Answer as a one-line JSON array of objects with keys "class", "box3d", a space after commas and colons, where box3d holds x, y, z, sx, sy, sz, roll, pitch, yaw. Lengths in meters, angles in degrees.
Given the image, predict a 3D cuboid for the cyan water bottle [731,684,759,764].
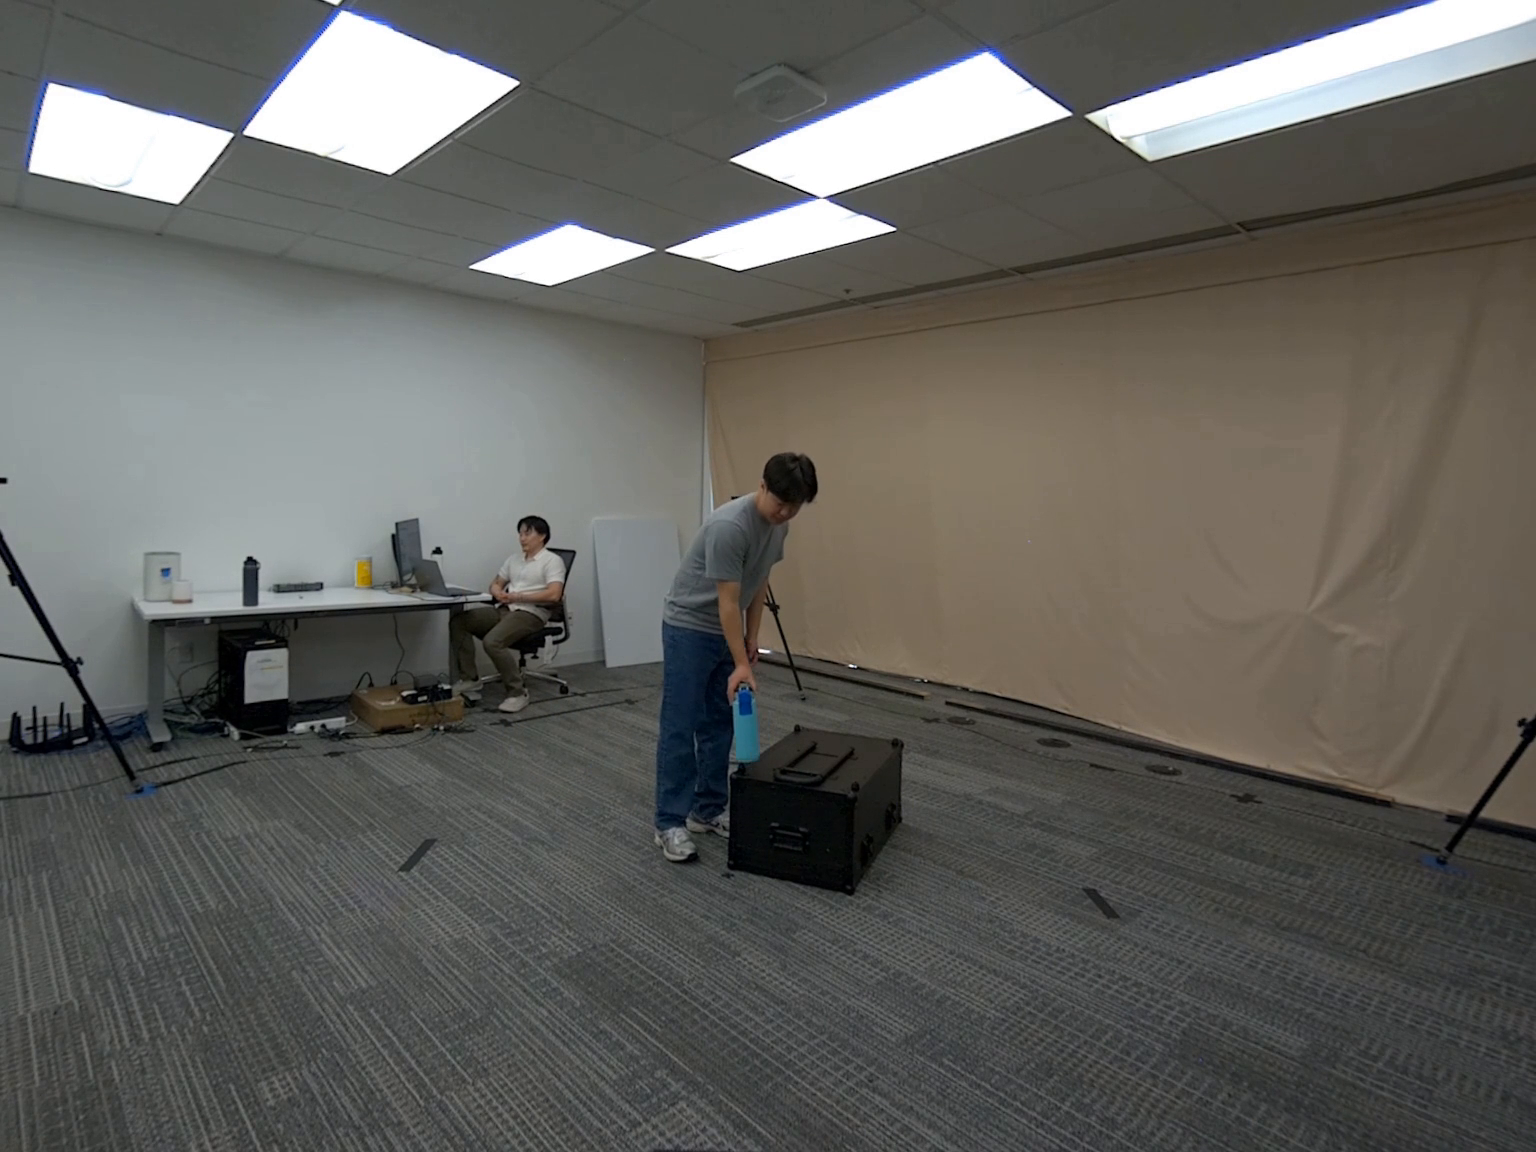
[{"class": "cyan water bottle", "box3d": [-0.096, 0.548, 3.150, 0.092, 0.283, 0.092, -1, 3, -1]}]
